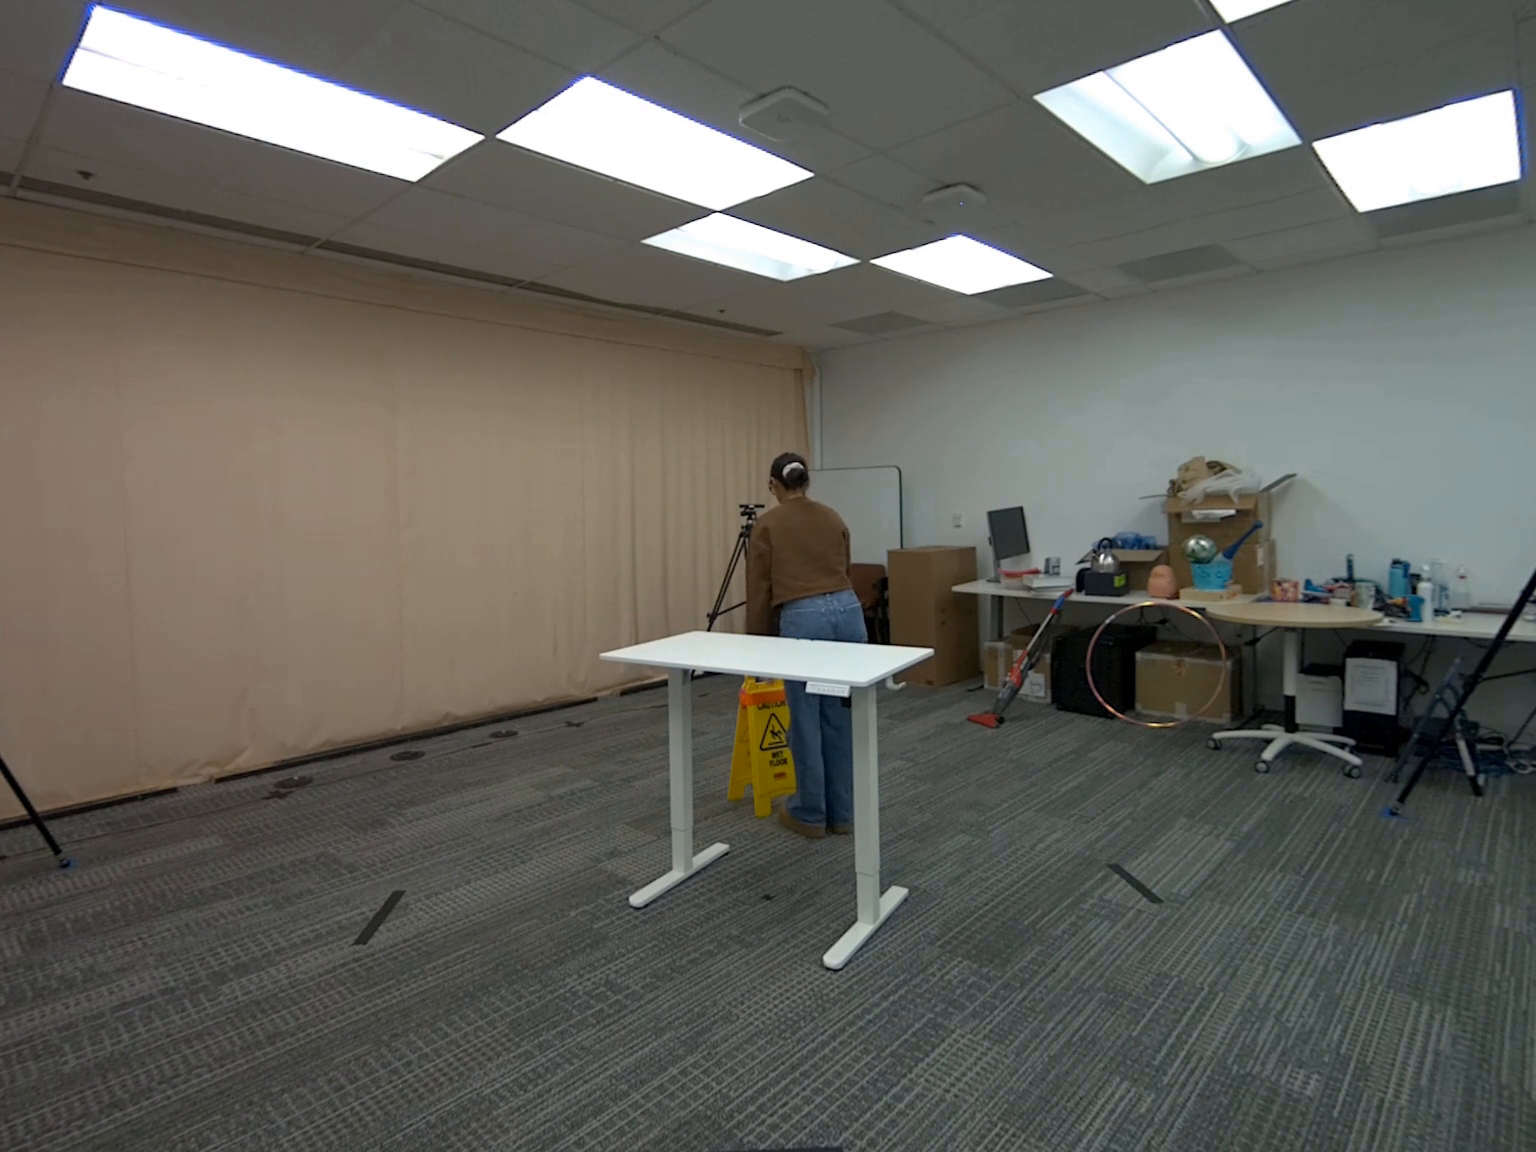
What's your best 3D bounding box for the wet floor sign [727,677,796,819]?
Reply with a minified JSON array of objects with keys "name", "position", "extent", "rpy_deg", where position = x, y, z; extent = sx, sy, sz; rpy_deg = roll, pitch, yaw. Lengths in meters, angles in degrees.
[{"name":"wet floor sign","position":[-0.011,0.738,3.910],"extent":[0.275,0.645,0.298],"rpy_deg":[-4,3,-29]}]
